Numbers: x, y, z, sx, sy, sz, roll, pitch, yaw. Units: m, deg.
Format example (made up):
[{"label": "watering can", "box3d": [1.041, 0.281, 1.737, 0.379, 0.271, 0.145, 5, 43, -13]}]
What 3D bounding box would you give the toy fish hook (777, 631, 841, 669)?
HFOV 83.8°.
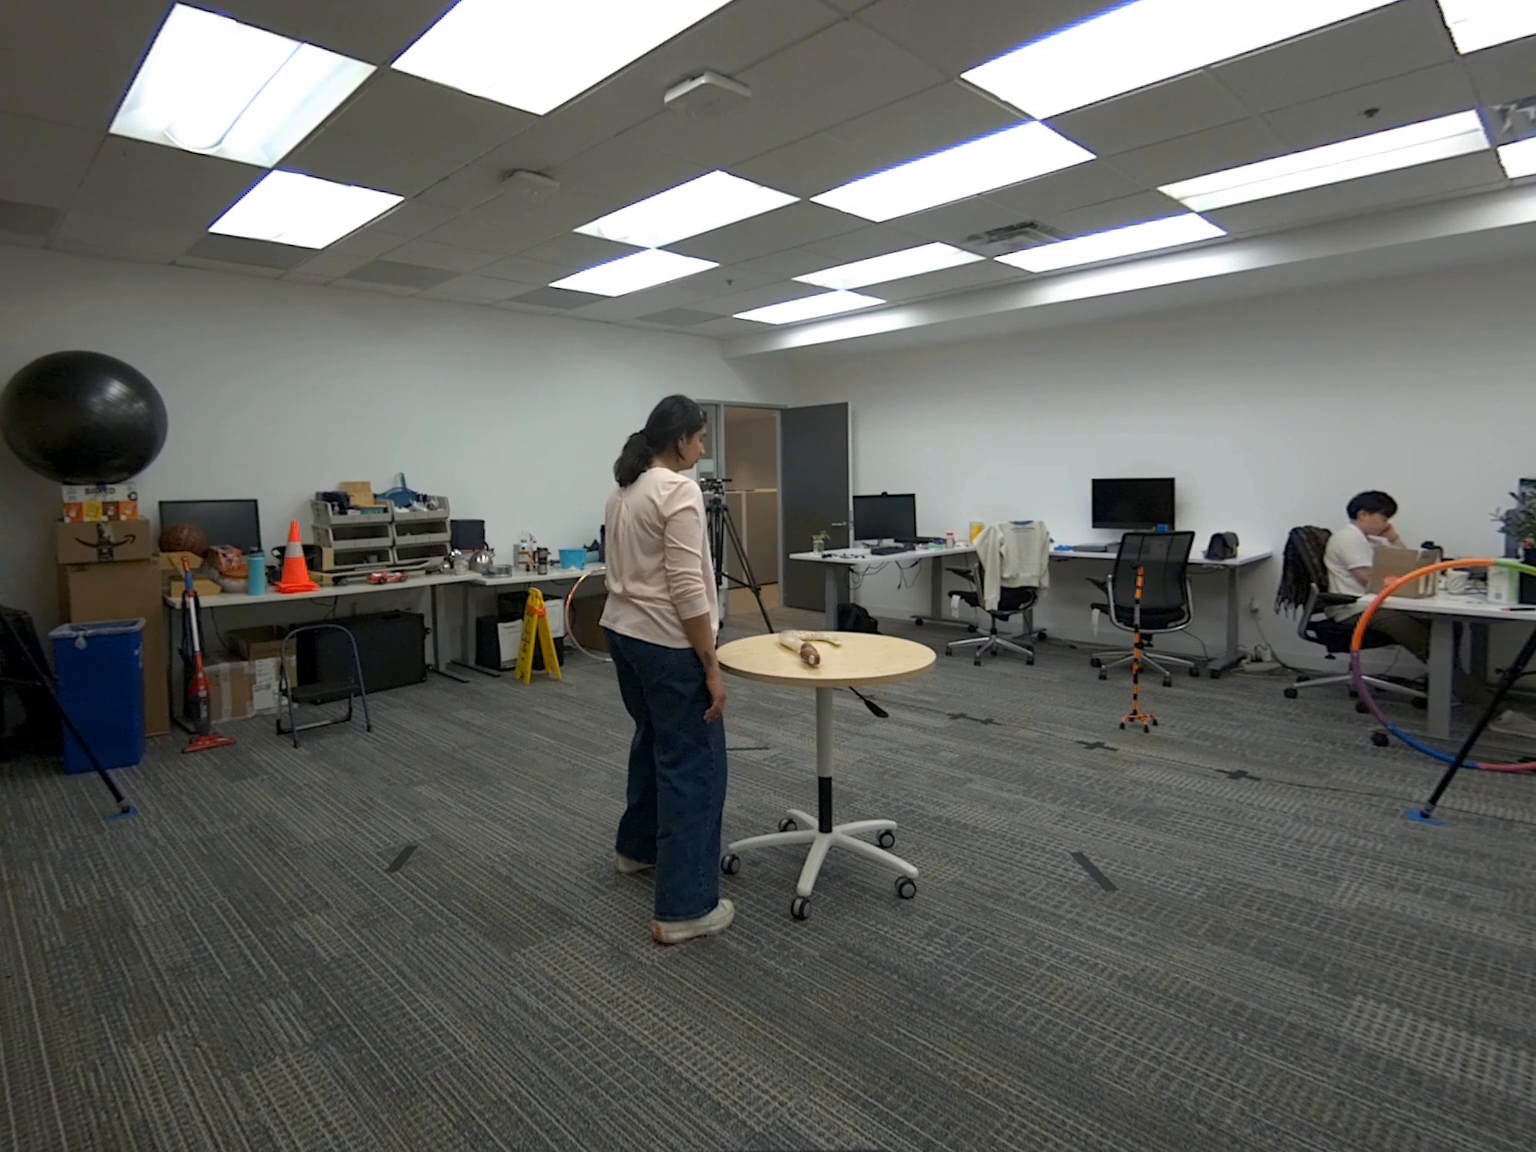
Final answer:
[{"label": "toy fish hook", "box3d": [0.168, 0.248, 2.984, 0.224, 0.048, 0.511, -3, 7, -6]}]
